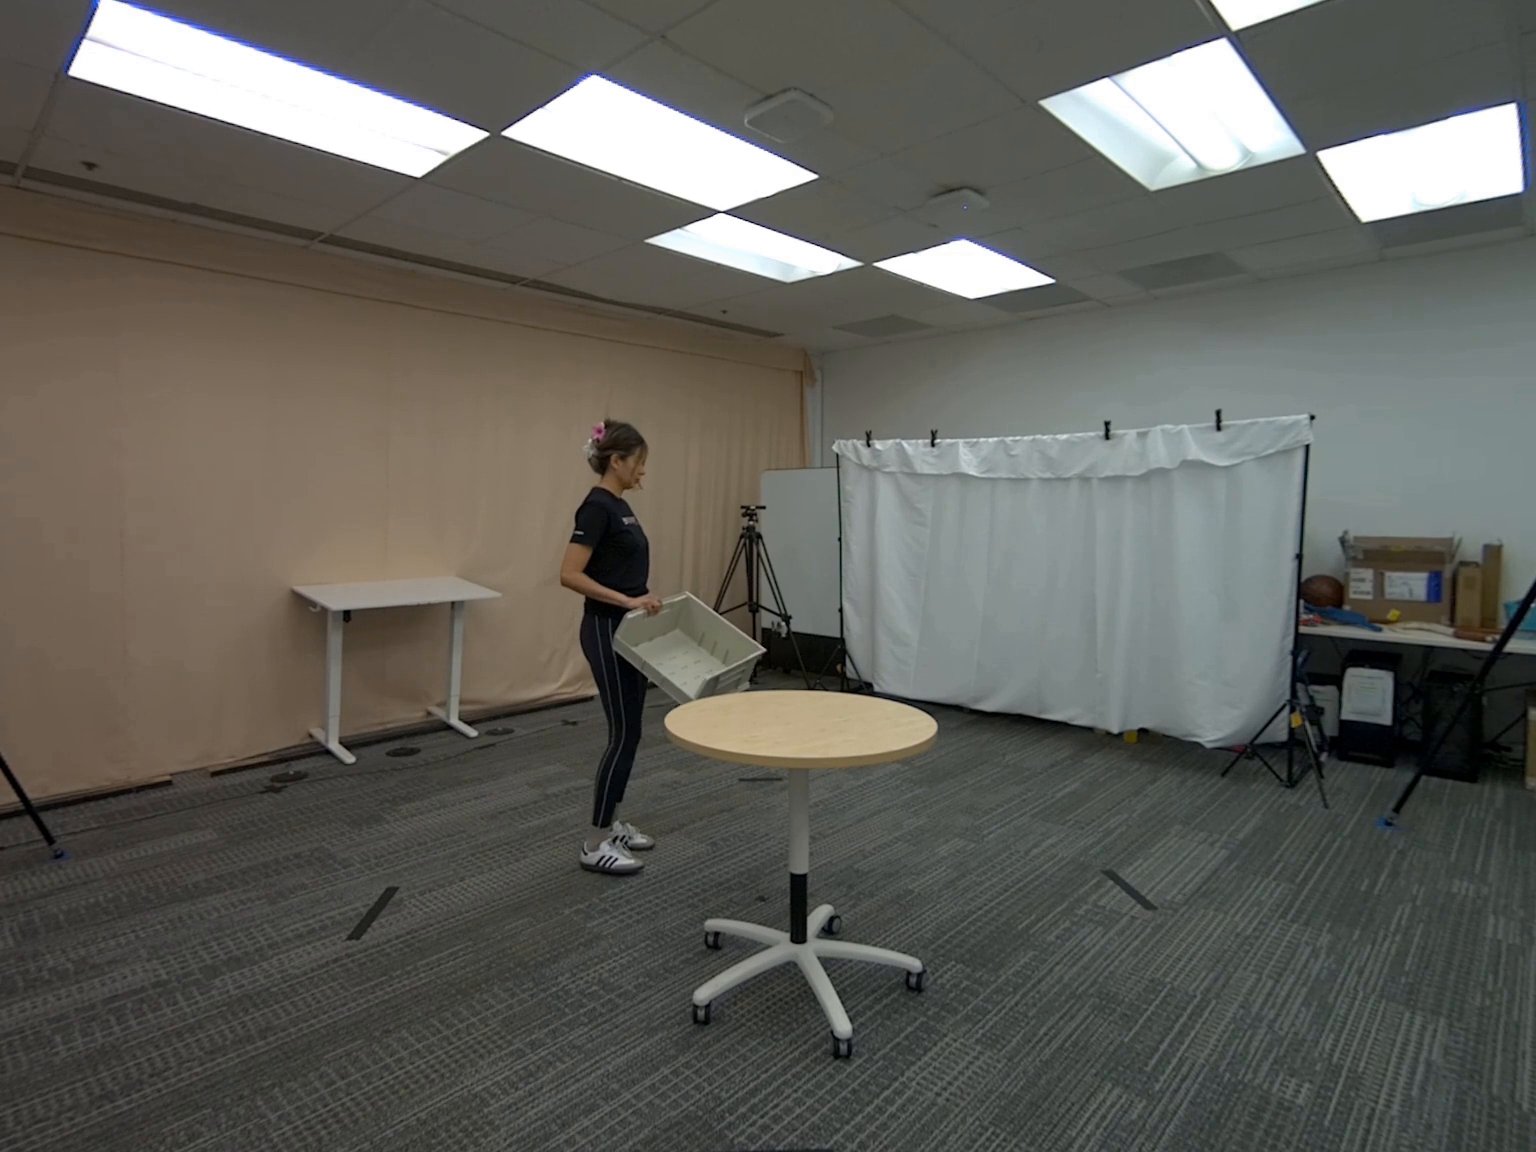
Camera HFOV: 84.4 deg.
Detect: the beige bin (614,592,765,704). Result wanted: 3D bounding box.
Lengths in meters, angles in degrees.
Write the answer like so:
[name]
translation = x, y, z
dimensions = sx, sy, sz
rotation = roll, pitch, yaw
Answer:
[beige bin]
translation = -0.300, 0.288, 3.137
dimensions = 0.436, 0.188, 0.368
rotation = 33, 31, 28
